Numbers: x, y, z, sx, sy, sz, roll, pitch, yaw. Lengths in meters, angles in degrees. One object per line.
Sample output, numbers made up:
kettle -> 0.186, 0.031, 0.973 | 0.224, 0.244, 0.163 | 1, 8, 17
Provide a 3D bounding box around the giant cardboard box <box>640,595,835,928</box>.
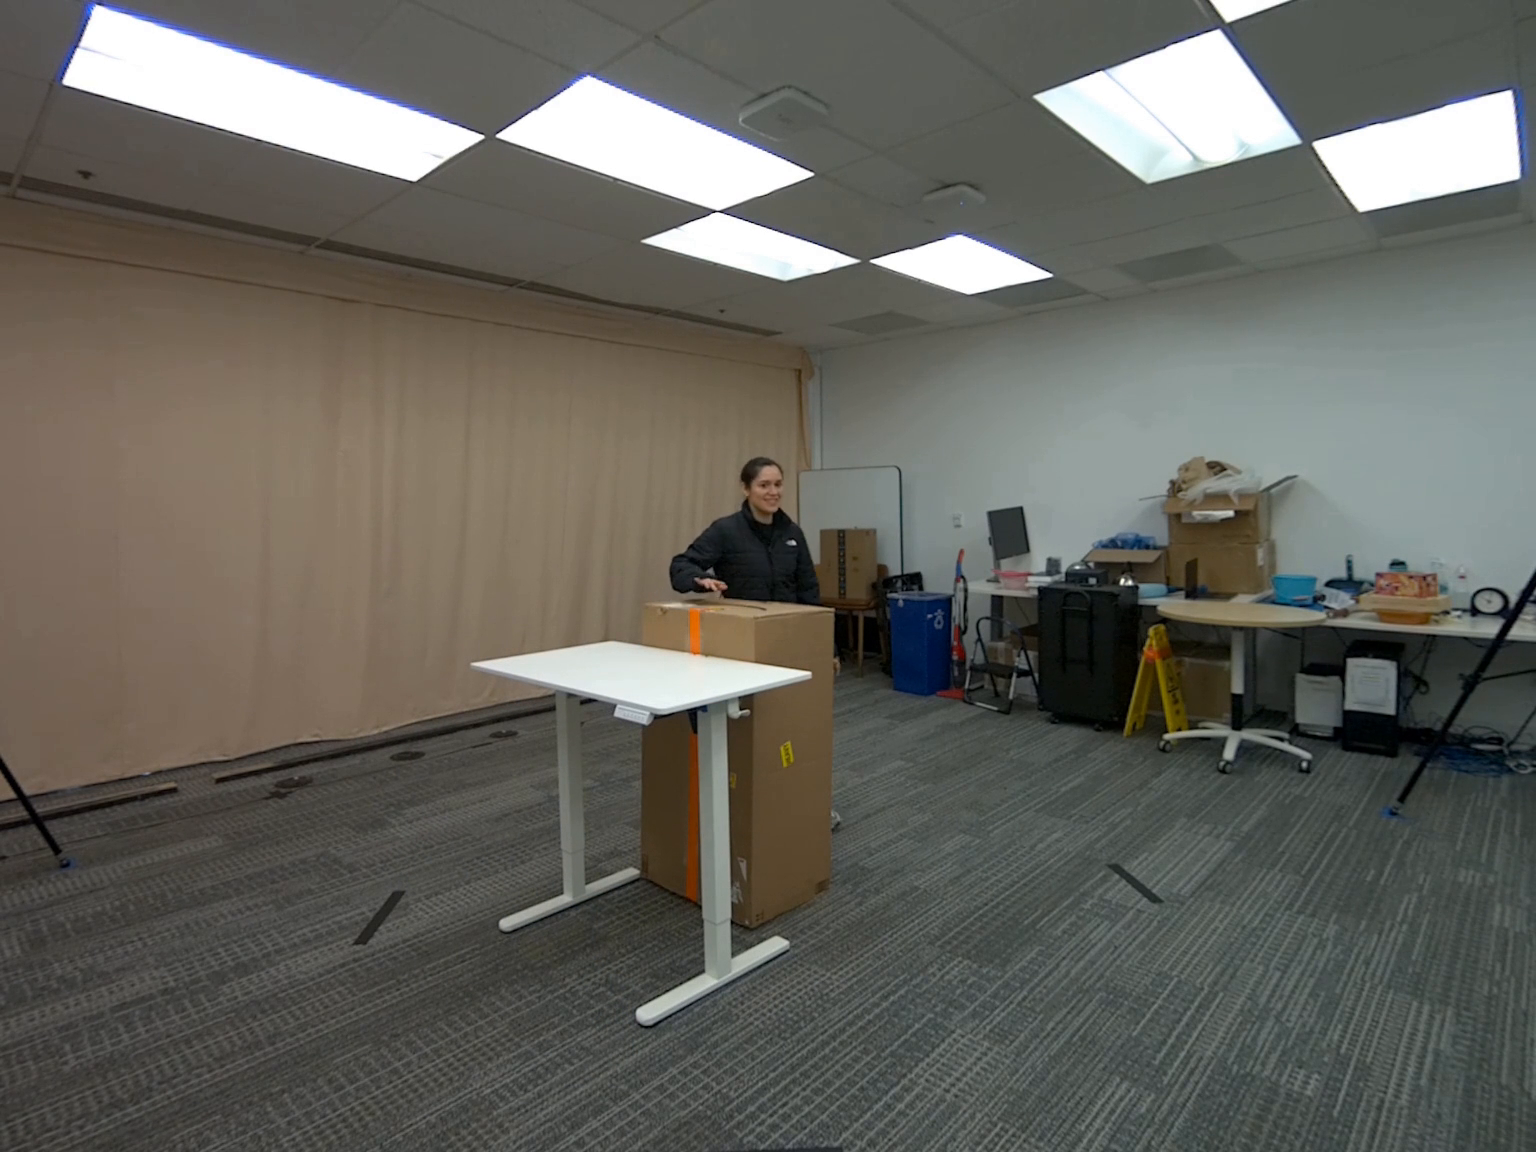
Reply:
giant cardboard box -> -0.113, 0.619, 3.076 | 0.433, 1.025, 0.603 | -2, 4, -45
